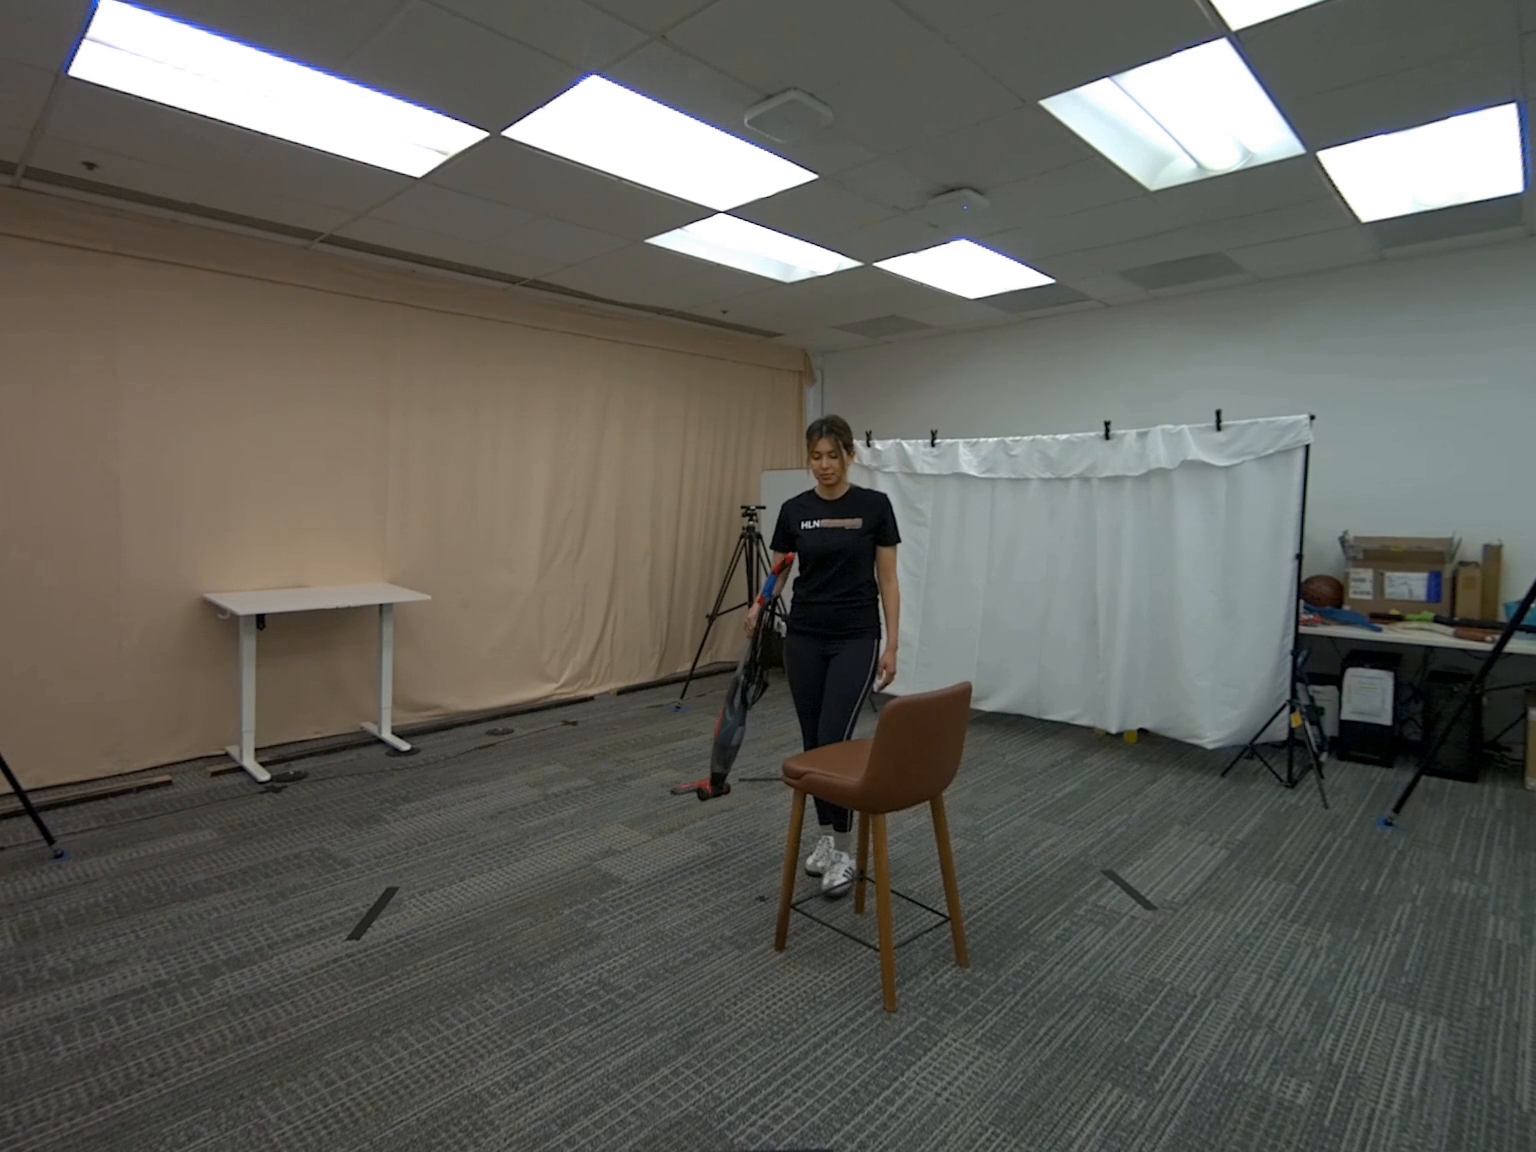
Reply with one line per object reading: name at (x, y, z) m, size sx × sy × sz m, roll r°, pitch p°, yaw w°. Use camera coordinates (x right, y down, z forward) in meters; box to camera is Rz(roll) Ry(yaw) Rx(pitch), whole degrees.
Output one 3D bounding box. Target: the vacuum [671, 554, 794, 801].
vacuum at (-0.085, 0.399, 3.108) m, size 0.245 × 1.044 × 0.149 m, roll -4°, pitch 31°, yaw -45°
